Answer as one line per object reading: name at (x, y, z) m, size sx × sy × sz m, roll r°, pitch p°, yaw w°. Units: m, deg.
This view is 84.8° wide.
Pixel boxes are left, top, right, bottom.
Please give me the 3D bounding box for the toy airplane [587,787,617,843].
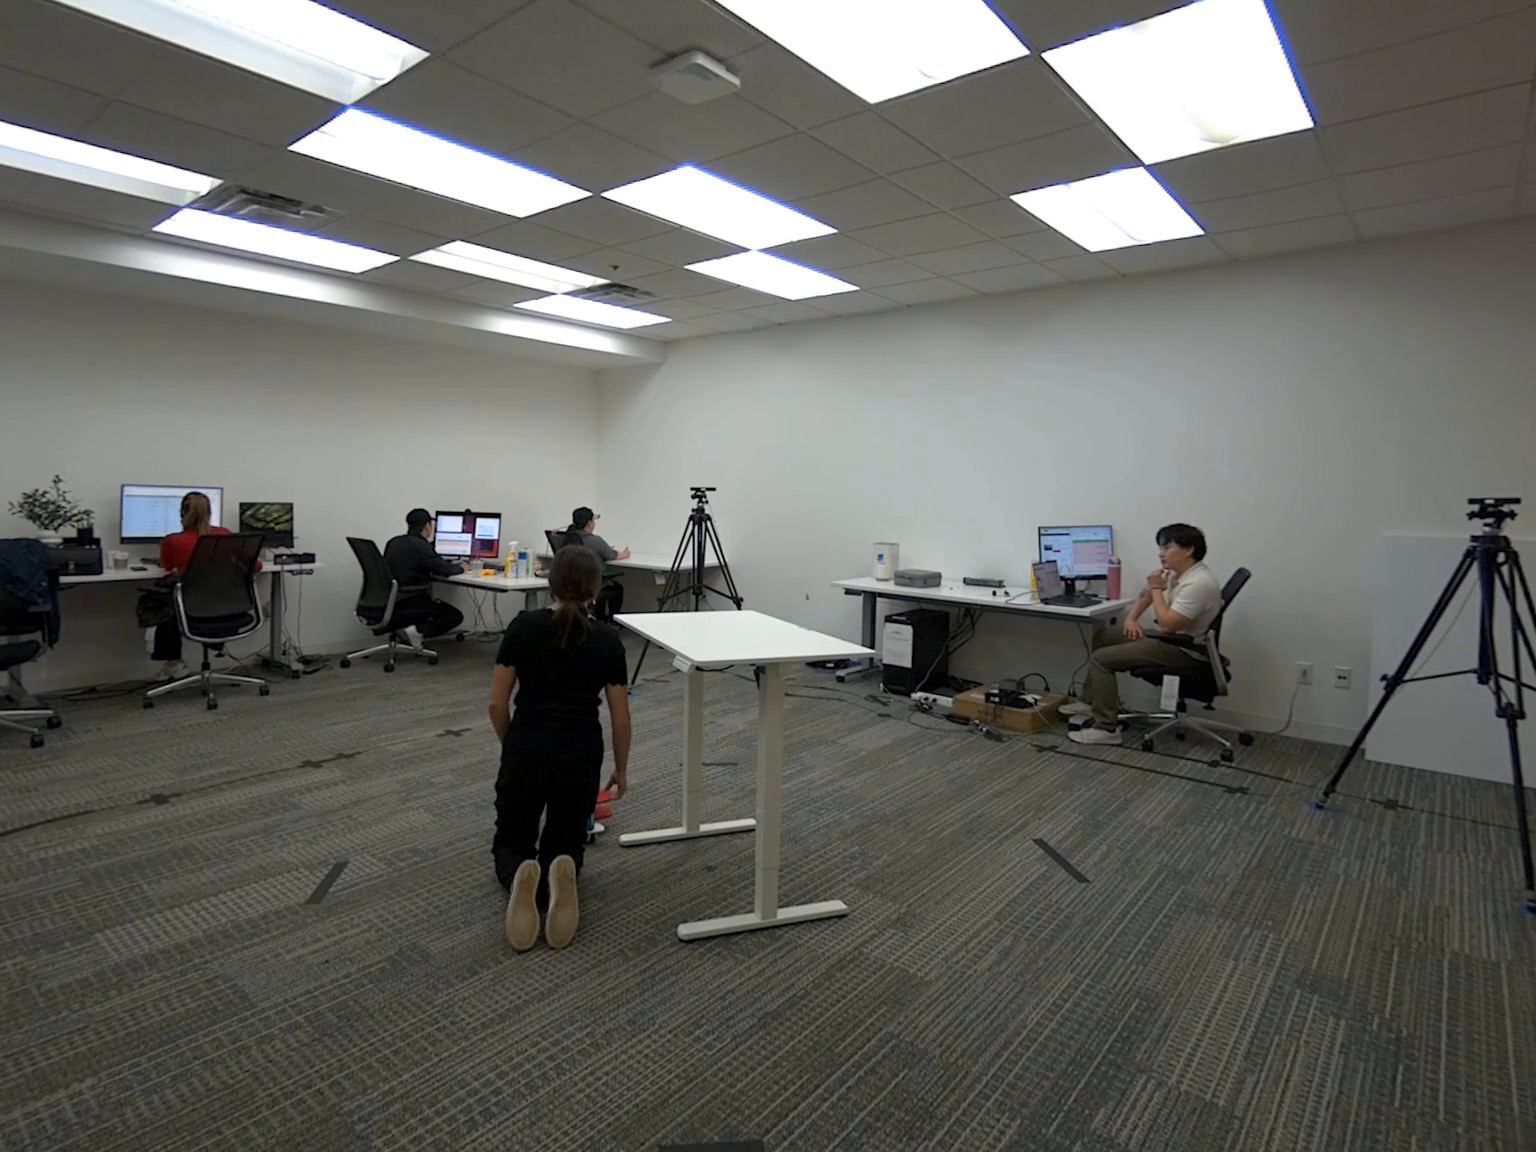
toy airplane at (-0.730, 0.946, 3.401) m, size 0.268 × 0.156 × 0.244 m, roll 3°, pitch 5°, yaw 39°
